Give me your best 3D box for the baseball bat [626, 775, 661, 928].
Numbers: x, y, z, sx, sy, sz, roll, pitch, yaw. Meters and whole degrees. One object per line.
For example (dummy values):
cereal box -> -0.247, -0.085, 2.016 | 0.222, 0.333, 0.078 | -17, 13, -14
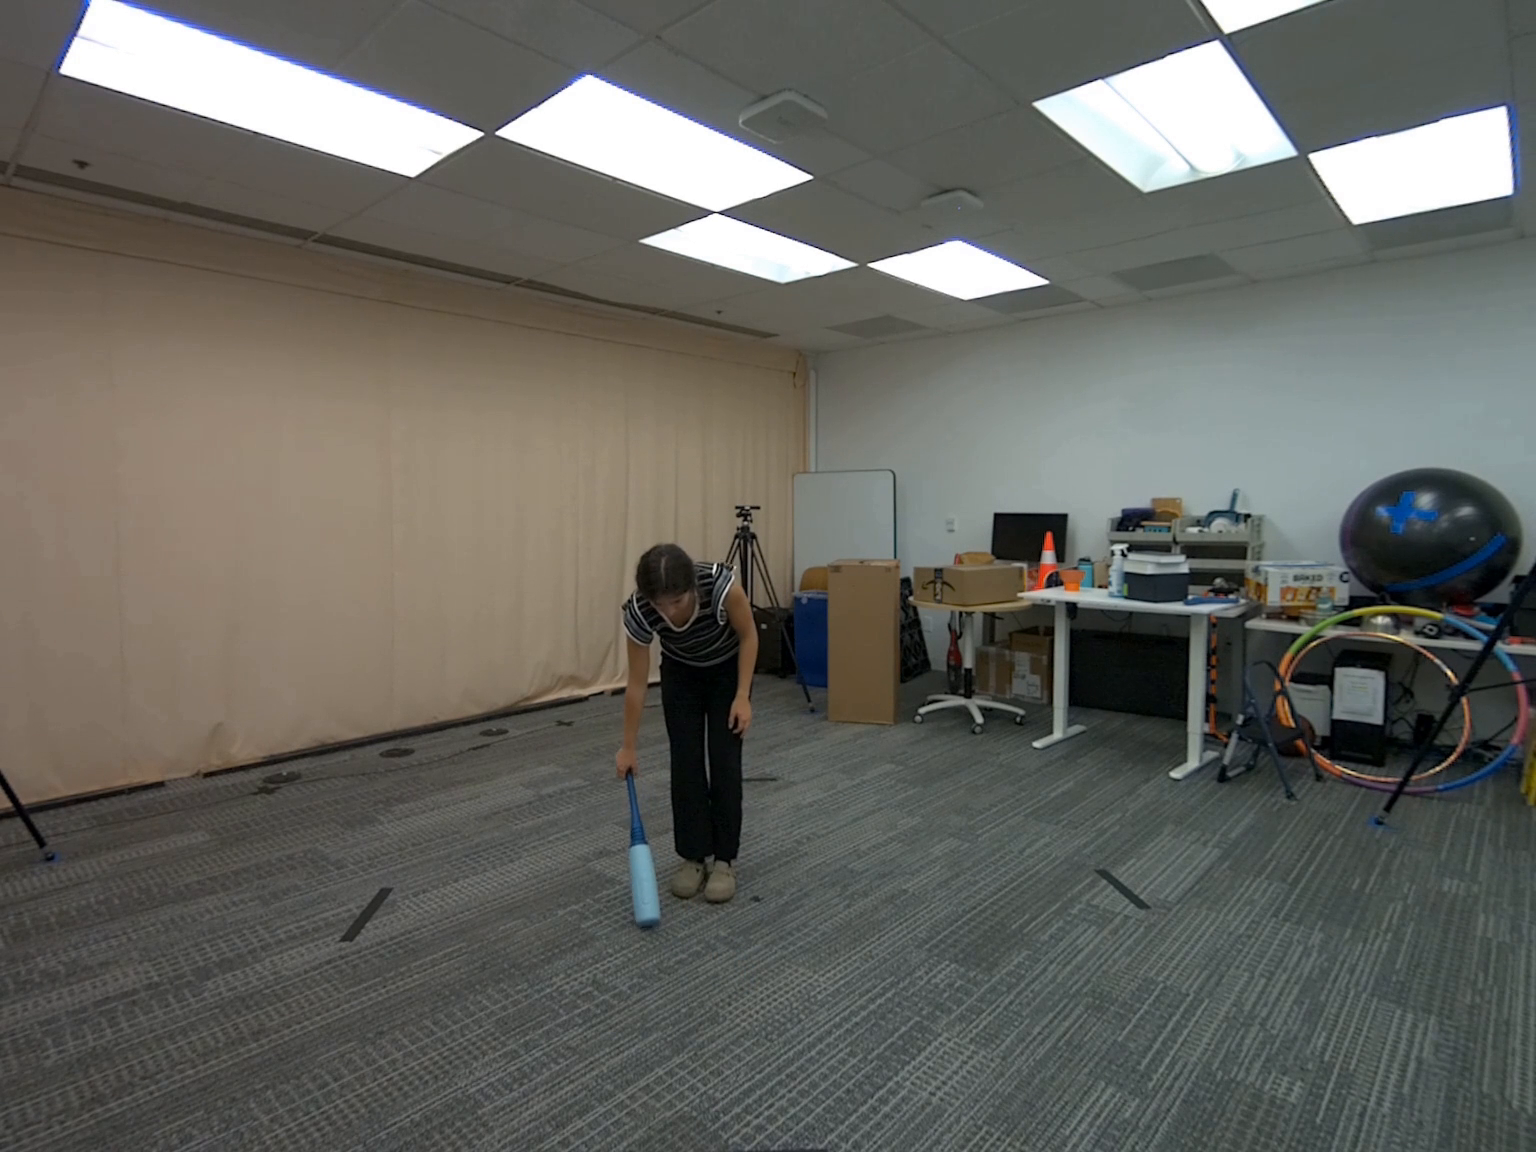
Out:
baseball bat -> -0.442, 0.926, 2.921 | 0.088, 0.556, 0.087 | -8, -35, -7
